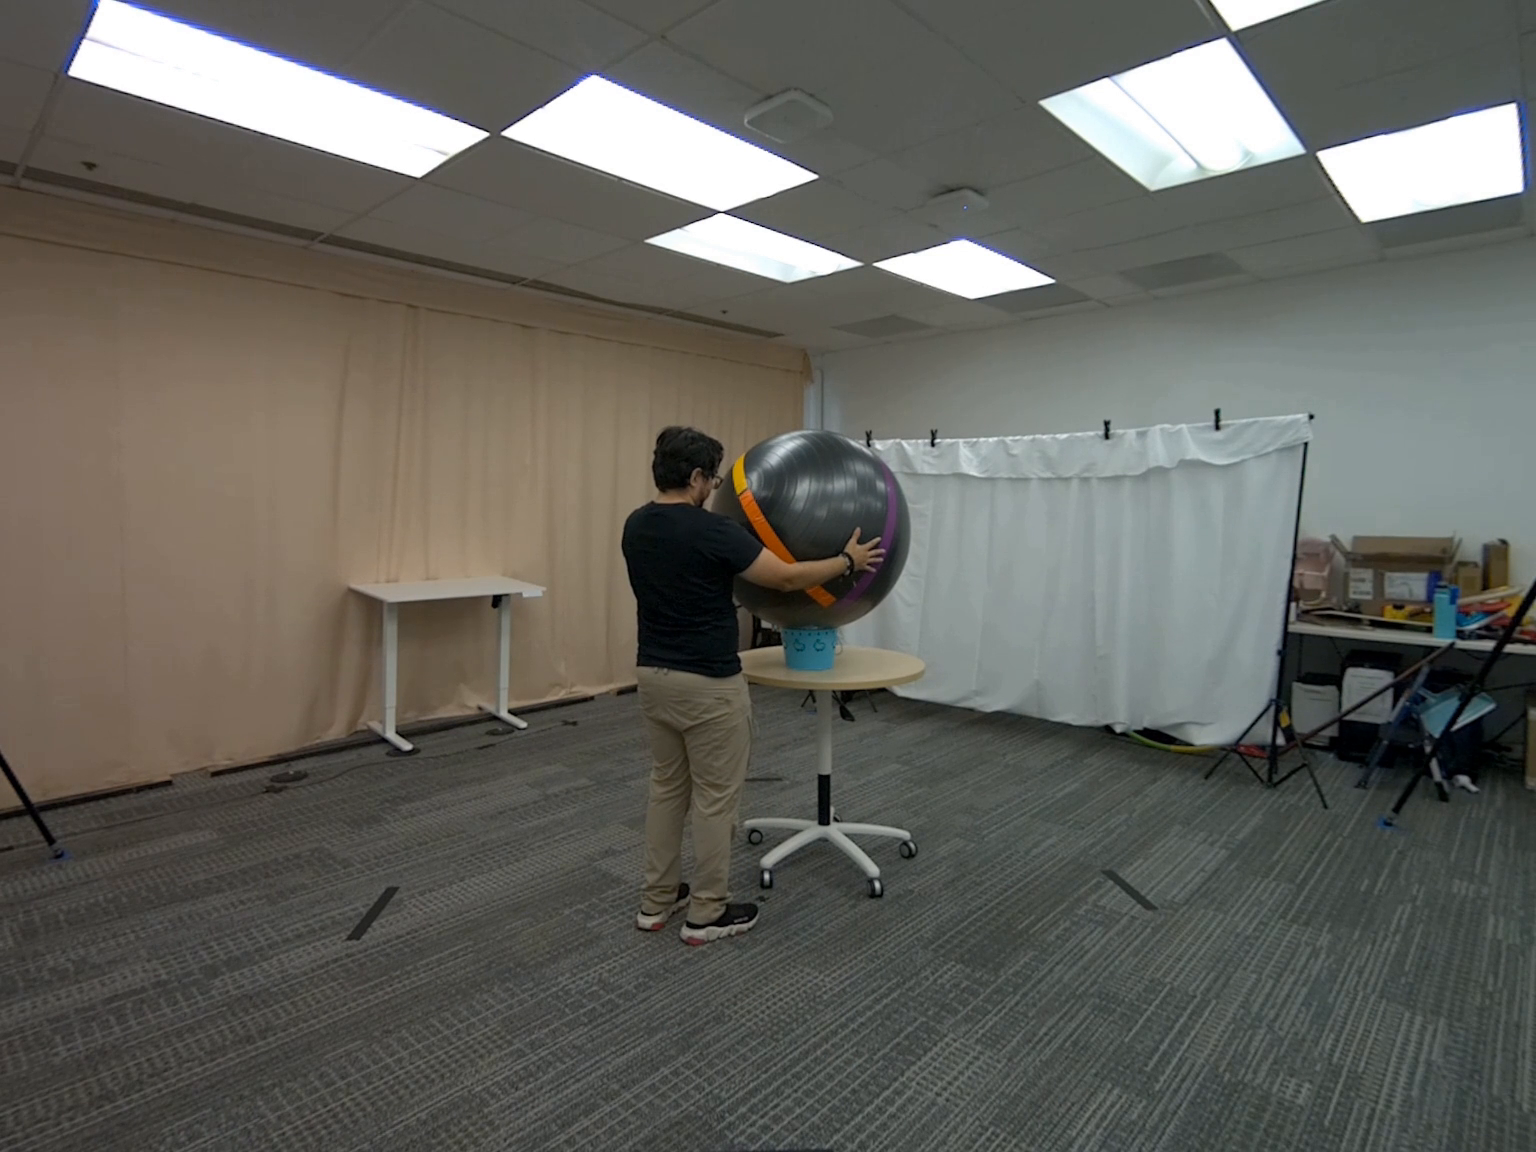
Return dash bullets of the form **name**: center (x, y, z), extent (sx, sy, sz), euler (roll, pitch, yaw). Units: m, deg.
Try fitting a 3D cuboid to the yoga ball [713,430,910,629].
- **yoga ball**: center (0.155, -0.166, 3.182), extent (0.757, 0.756, 0.760), euler (0, 4, -2)
